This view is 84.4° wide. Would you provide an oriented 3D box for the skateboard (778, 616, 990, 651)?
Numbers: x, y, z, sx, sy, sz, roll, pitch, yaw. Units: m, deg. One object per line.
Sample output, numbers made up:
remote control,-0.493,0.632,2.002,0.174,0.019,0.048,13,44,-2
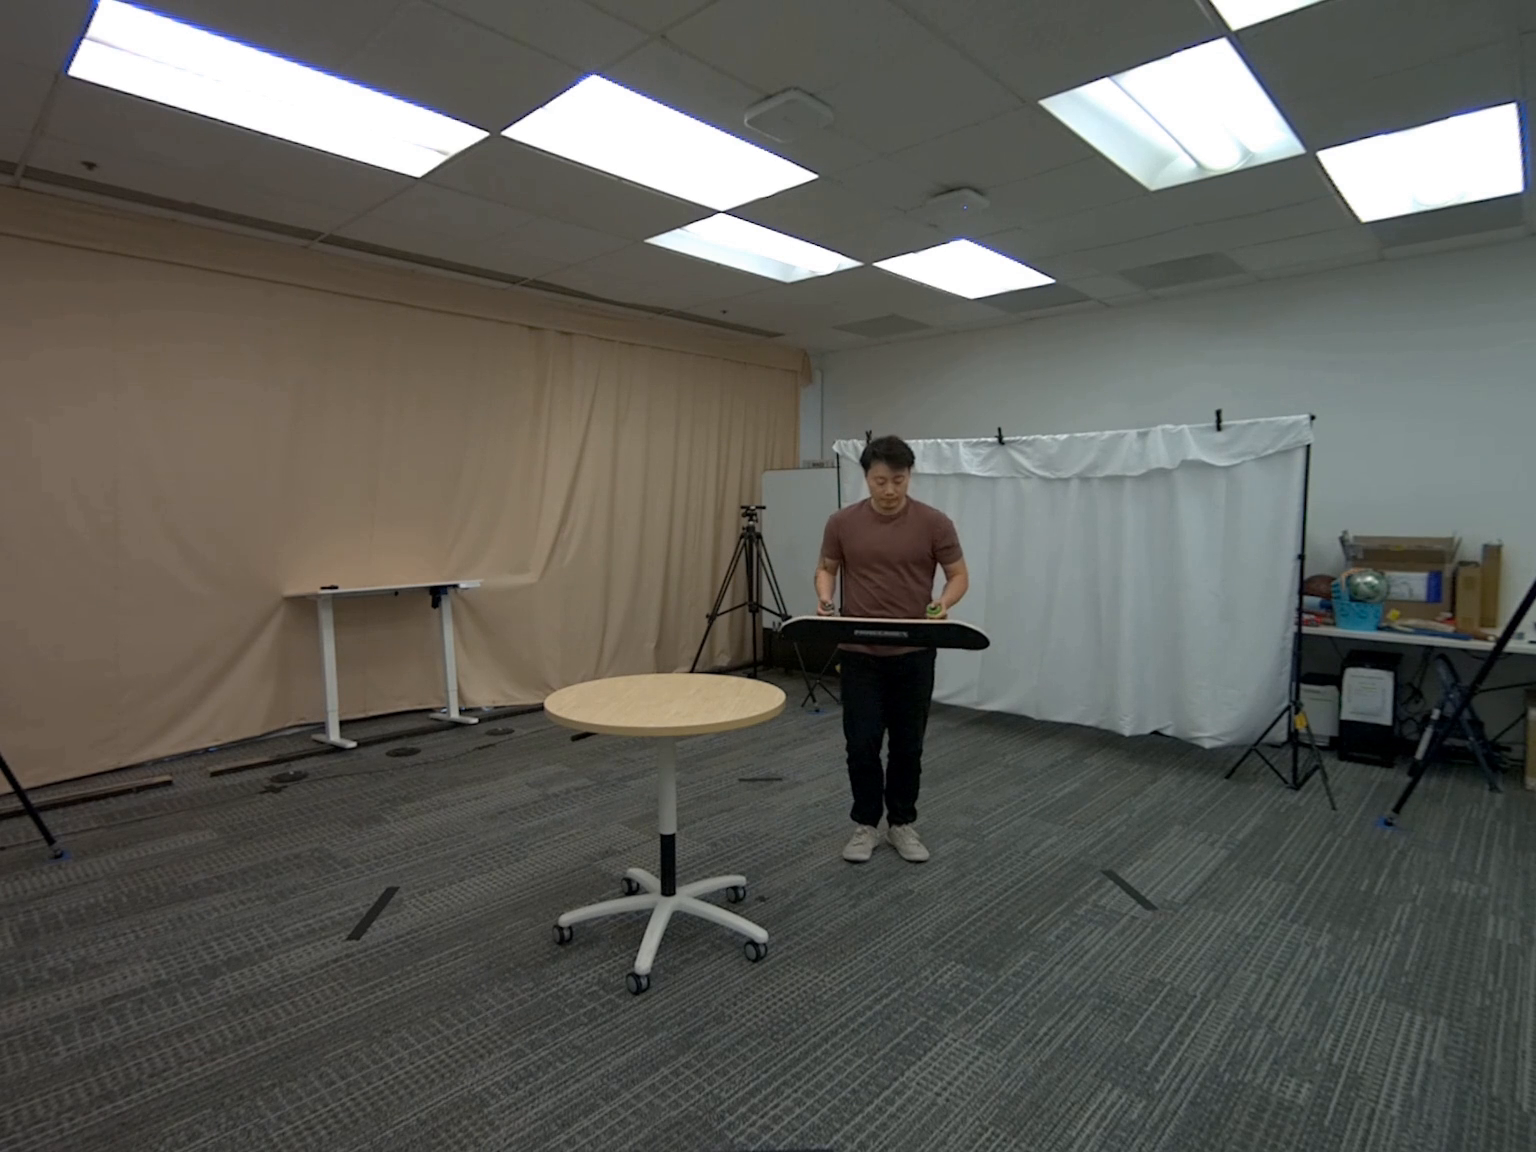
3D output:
skateboard,0.421,0.187,3.192,0.802,0.111,0.187,1,-35,21
